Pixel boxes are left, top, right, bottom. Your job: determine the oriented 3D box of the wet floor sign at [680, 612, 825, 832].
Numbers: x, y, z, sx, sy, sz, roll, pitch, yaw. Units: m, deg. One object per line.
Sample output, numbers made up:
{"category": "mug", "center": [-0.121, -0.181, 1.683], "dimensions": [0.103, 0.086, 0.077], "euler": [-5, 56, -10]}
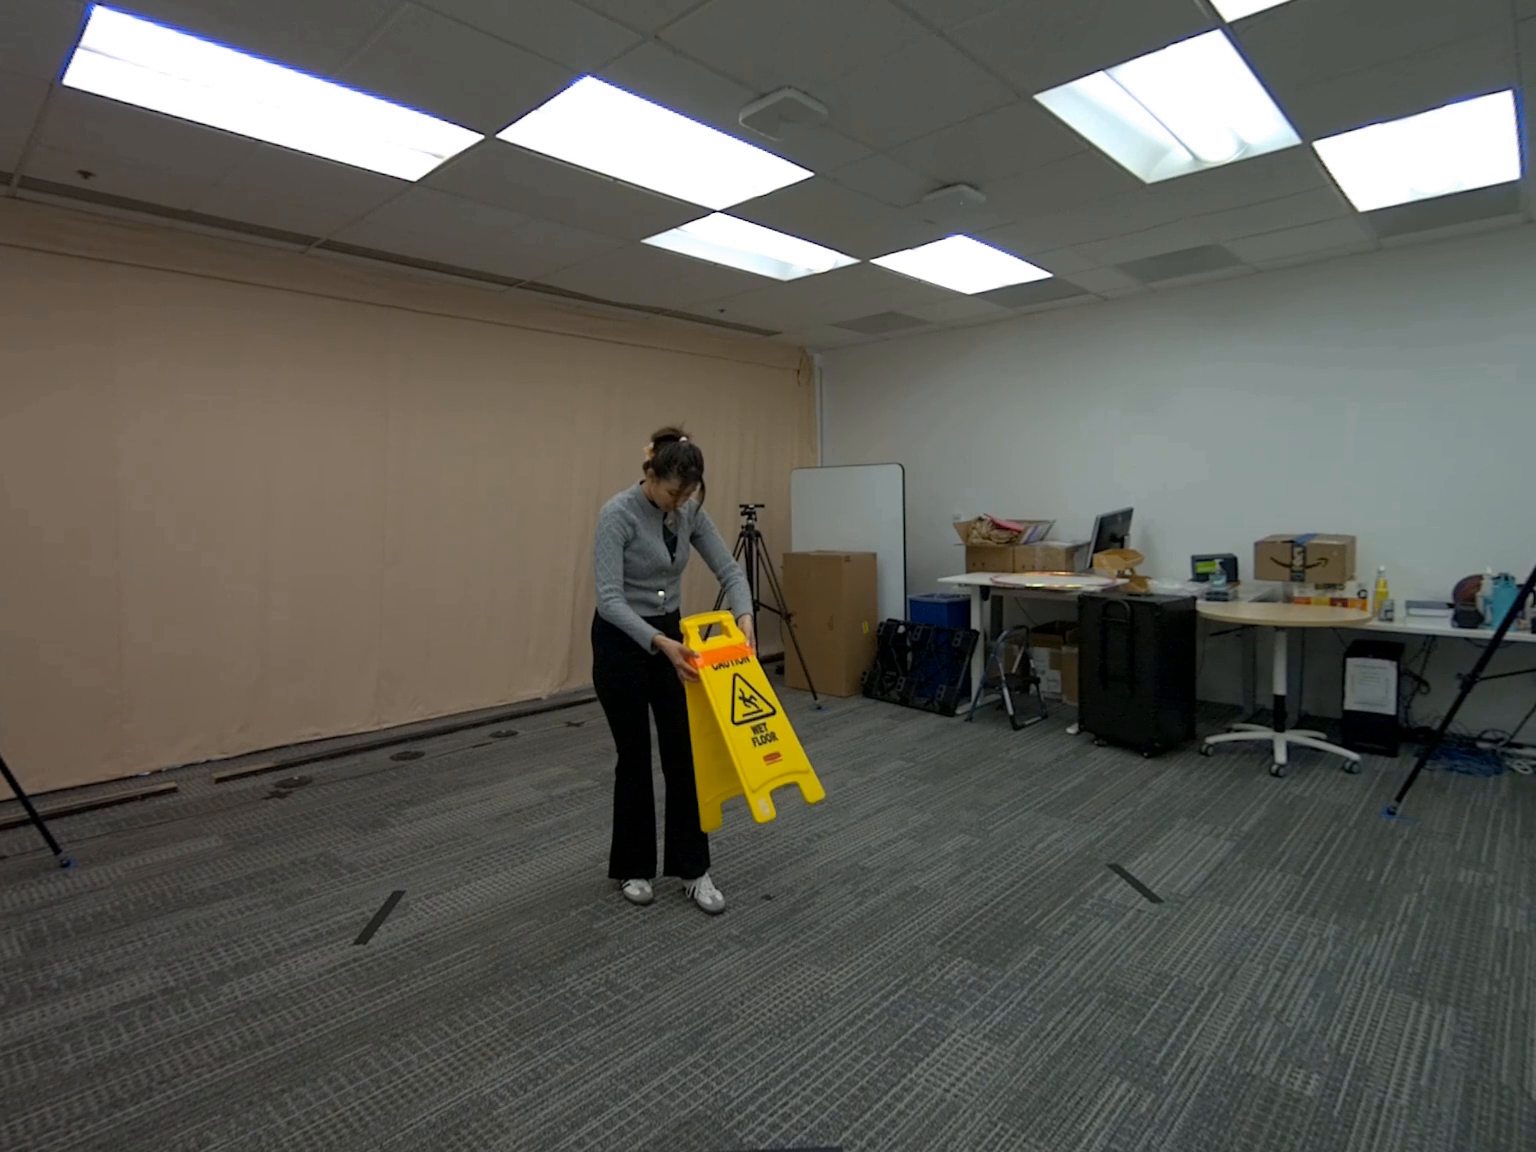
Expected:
{"category": "wet floor sign", "center": [-0.101, 0.429, 2.634], "dimensions": [0.274, 0.653, 0.295], "euler": [-8, -14, -40]}
